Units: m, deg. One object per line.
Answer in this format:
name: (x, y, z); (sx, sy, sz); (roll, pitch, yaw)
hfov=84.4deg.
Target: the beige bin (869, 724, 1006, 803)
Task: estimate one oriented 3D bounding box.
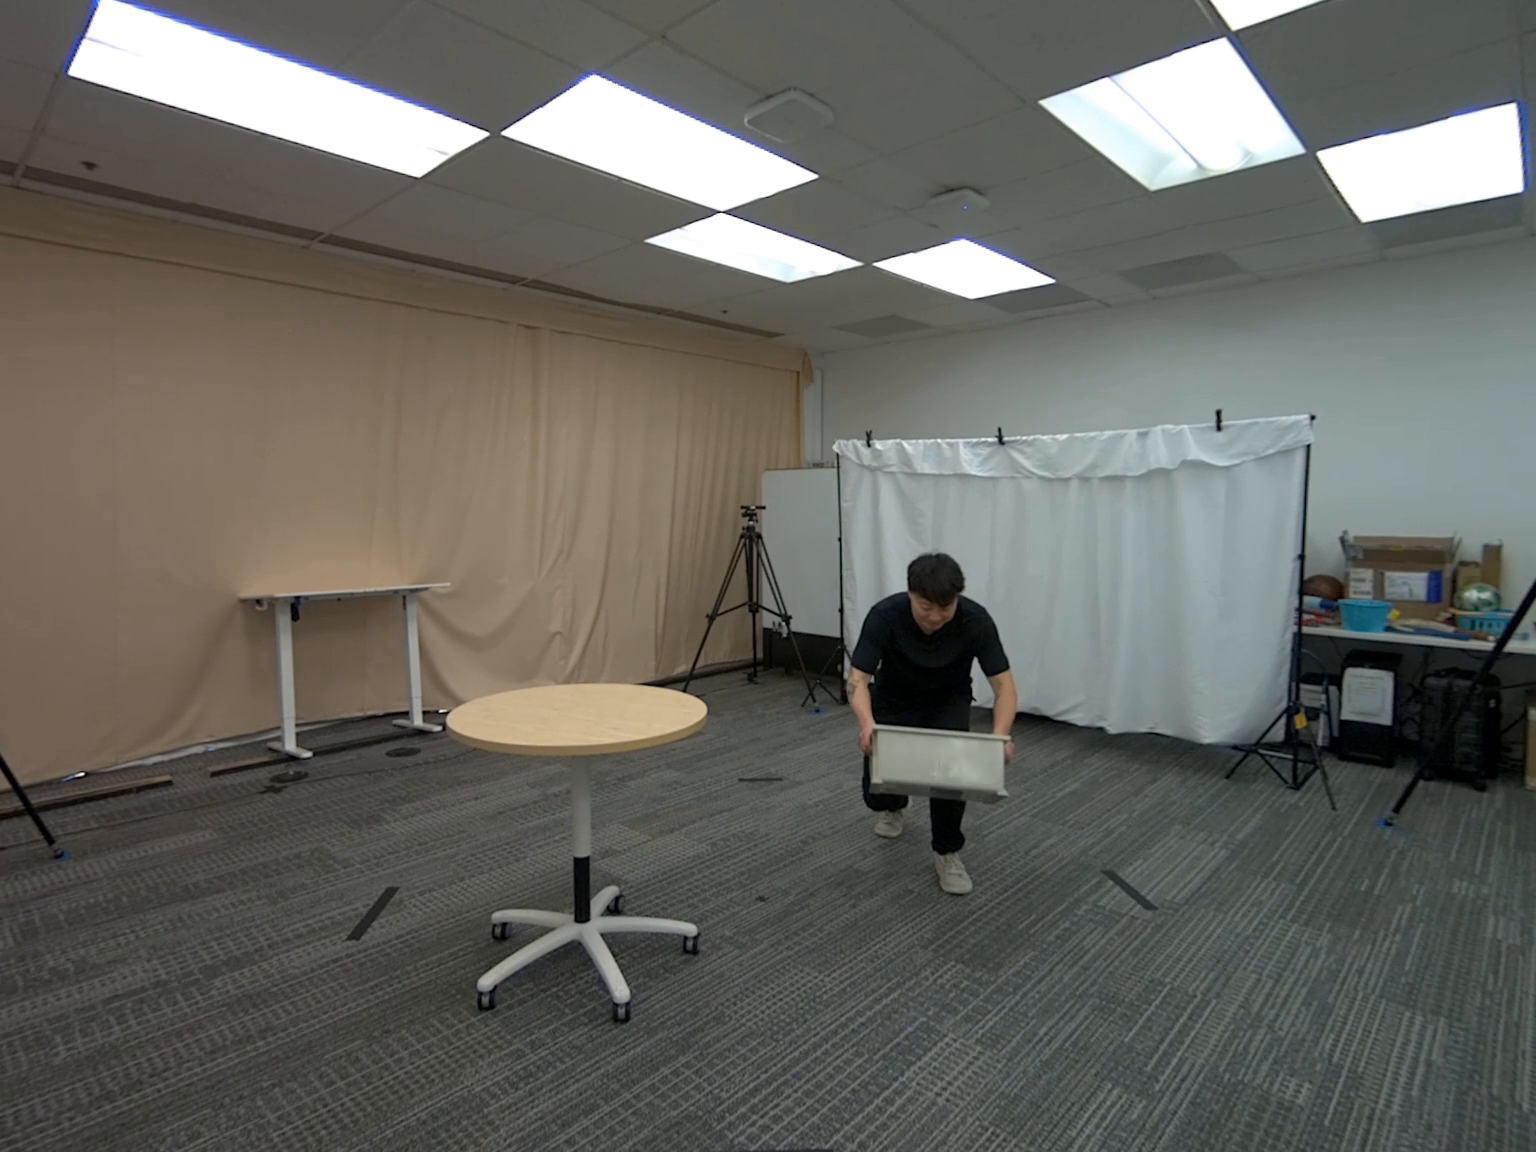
beige bin: (0.556, 0.635, 2.783); (0.427, 0.191, 0.370); (4, -19, 8)
